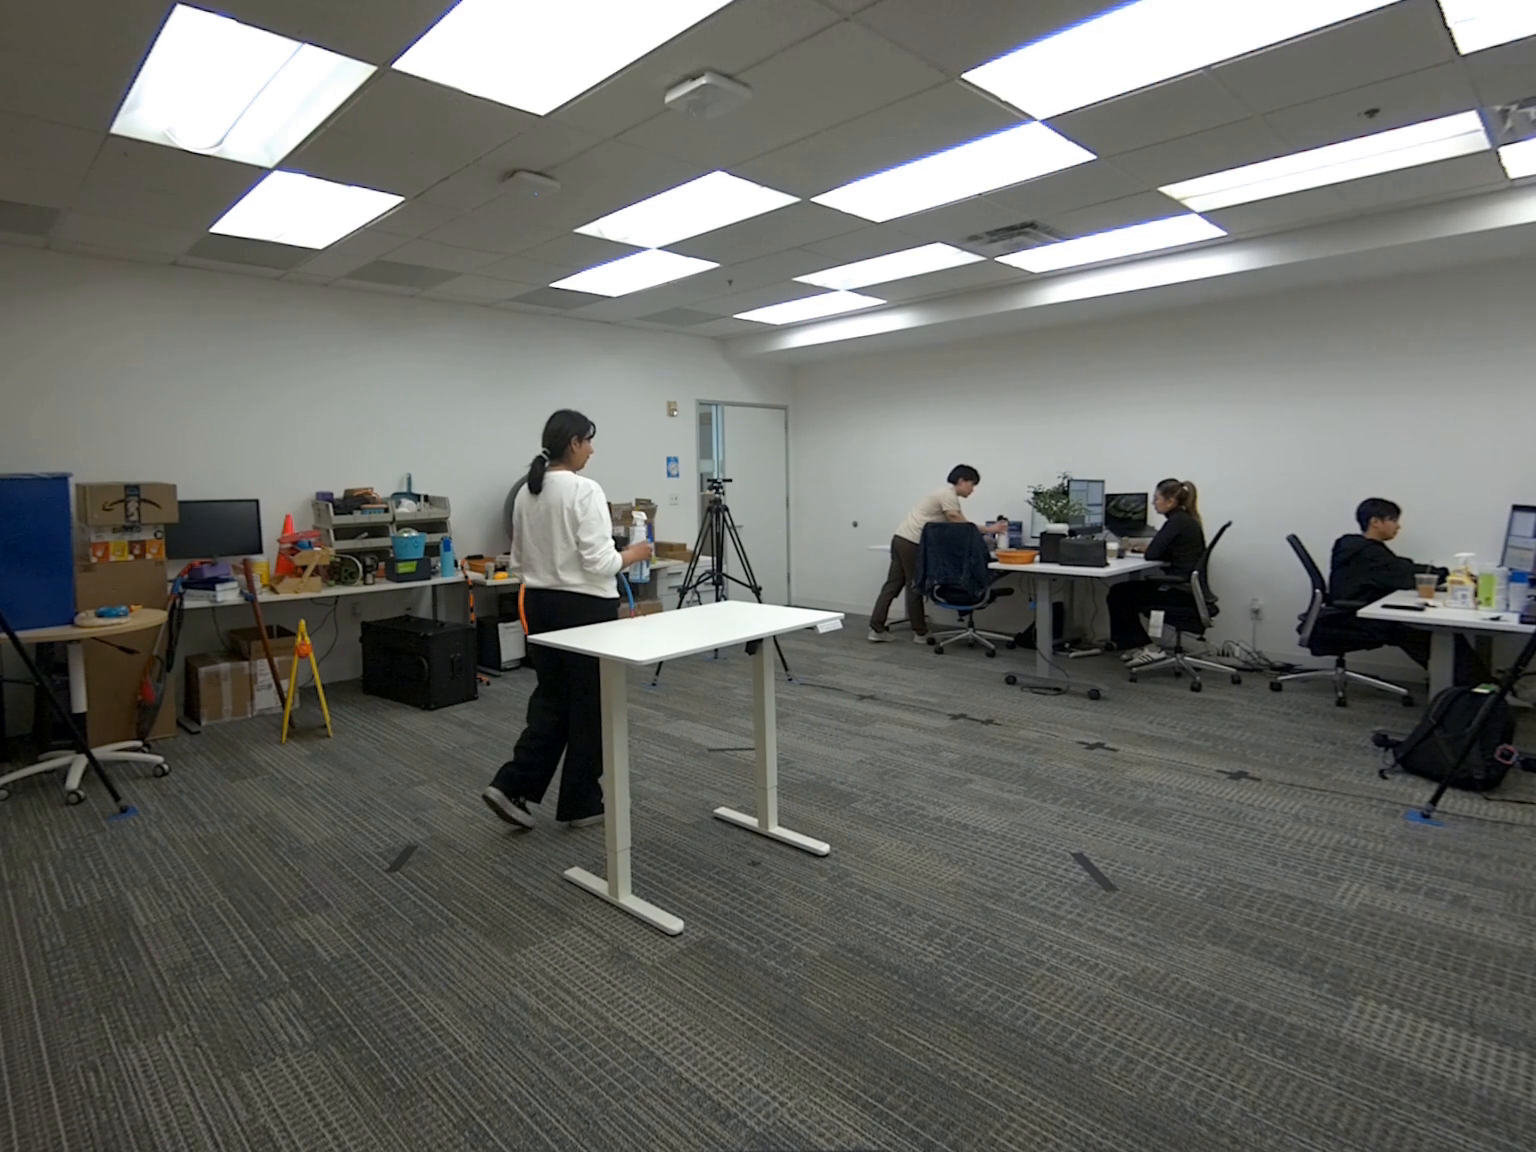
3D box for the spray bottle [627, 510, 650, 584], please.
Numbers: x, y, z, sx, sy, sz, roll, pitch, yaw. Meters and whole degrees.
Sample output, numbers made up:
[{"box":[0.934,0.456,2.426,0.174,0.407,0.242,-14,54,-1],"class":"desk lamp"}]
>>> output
[{"box":[-0.554,-0.120,3.604,0.085,0.296,0.092,1,3,-18],"class":"spray bottle"}]
